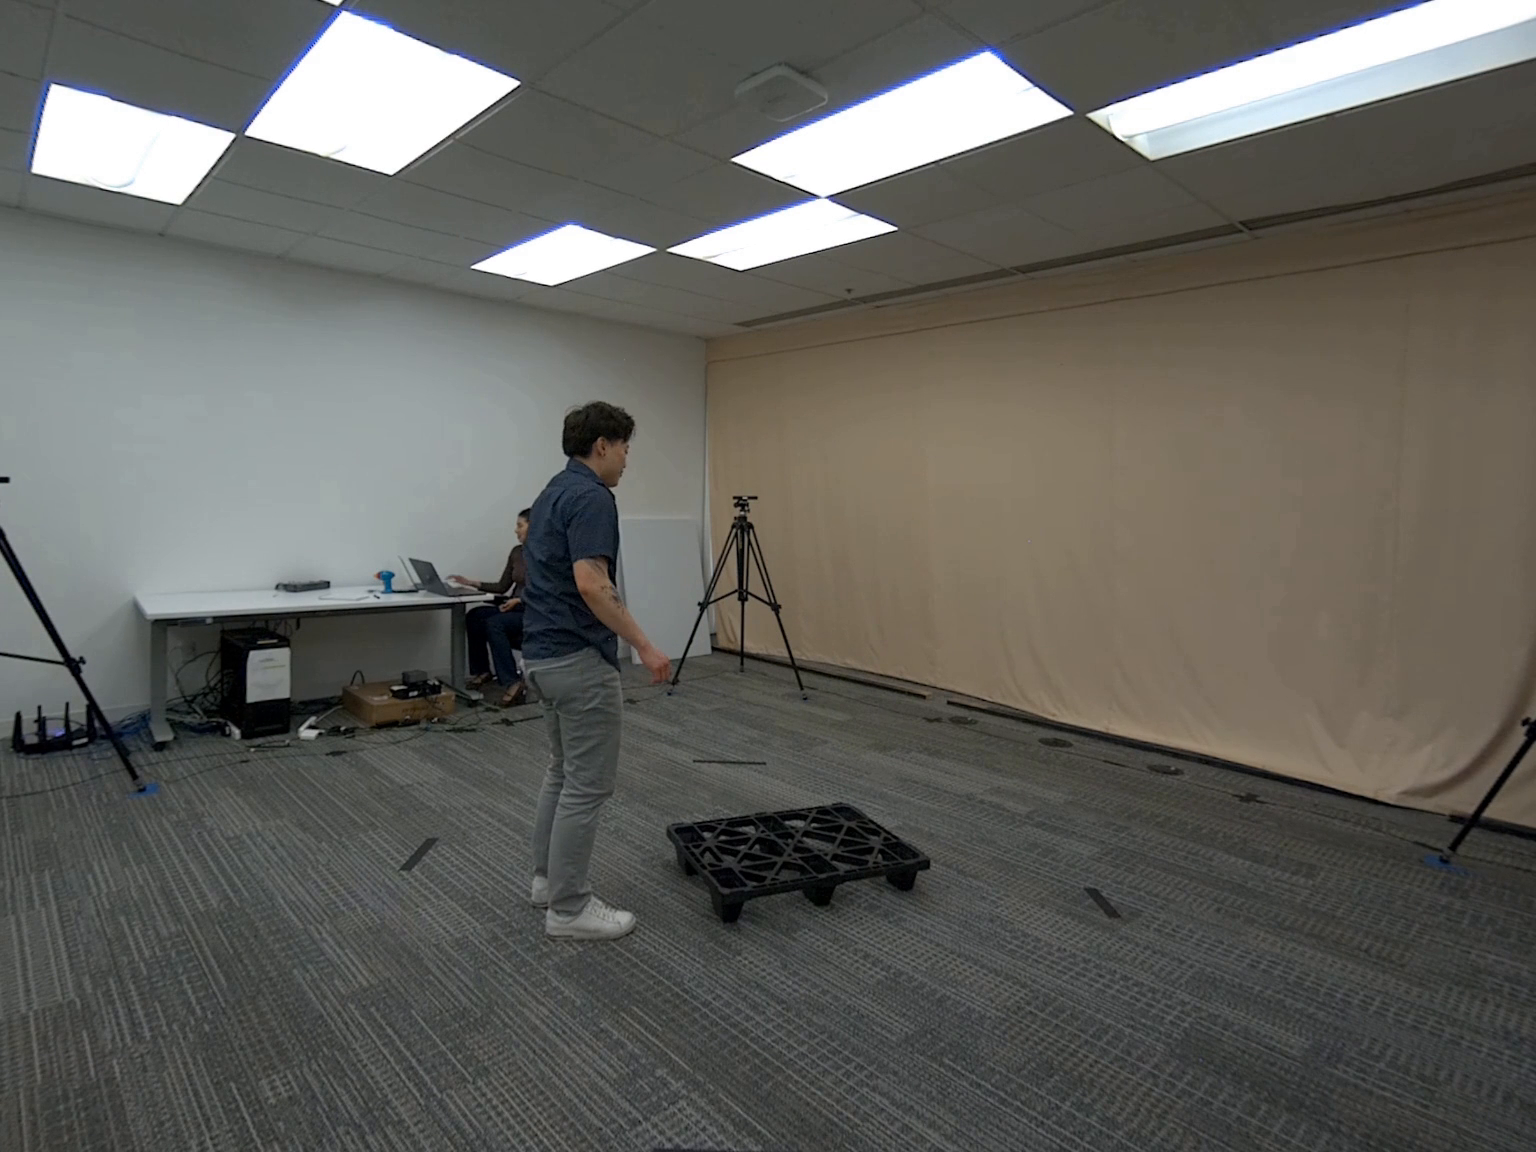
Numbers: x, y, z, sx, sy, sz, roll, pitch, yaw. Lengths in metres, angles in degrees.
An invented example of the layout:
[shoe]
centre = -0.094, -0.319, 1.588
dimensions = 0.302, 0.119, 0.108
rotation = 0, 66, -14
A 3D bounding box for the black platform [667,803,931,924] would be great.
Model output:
[black platform]
centre = 0.091, 1.043, 3.092
dimensions = 0.792, 0.143, 0.617
rotation = -1, 6, -23
